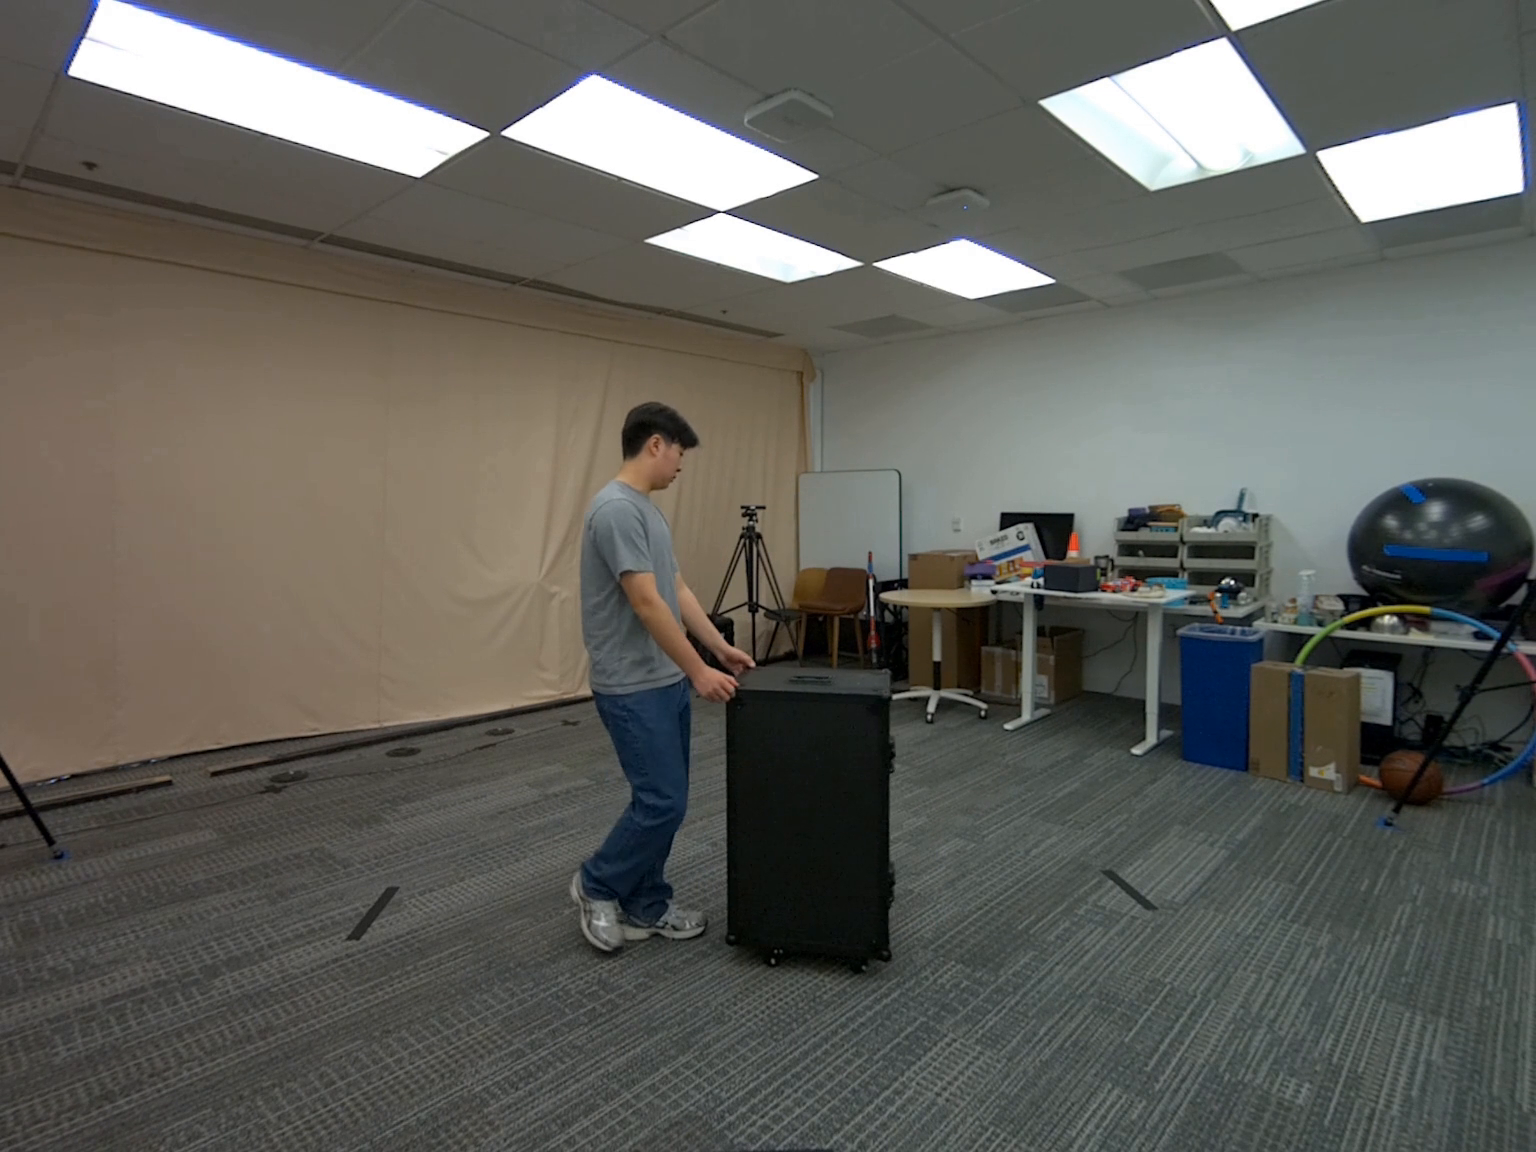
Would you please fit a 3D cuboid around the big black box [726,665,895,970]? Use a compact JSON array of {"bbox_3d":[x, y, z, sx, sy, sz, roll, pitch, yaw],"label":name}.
[{"bbox_3d":[0.140,0.752,2.645,0.528,0.860,0.392,0,3,11],"label":"big black box"}]
